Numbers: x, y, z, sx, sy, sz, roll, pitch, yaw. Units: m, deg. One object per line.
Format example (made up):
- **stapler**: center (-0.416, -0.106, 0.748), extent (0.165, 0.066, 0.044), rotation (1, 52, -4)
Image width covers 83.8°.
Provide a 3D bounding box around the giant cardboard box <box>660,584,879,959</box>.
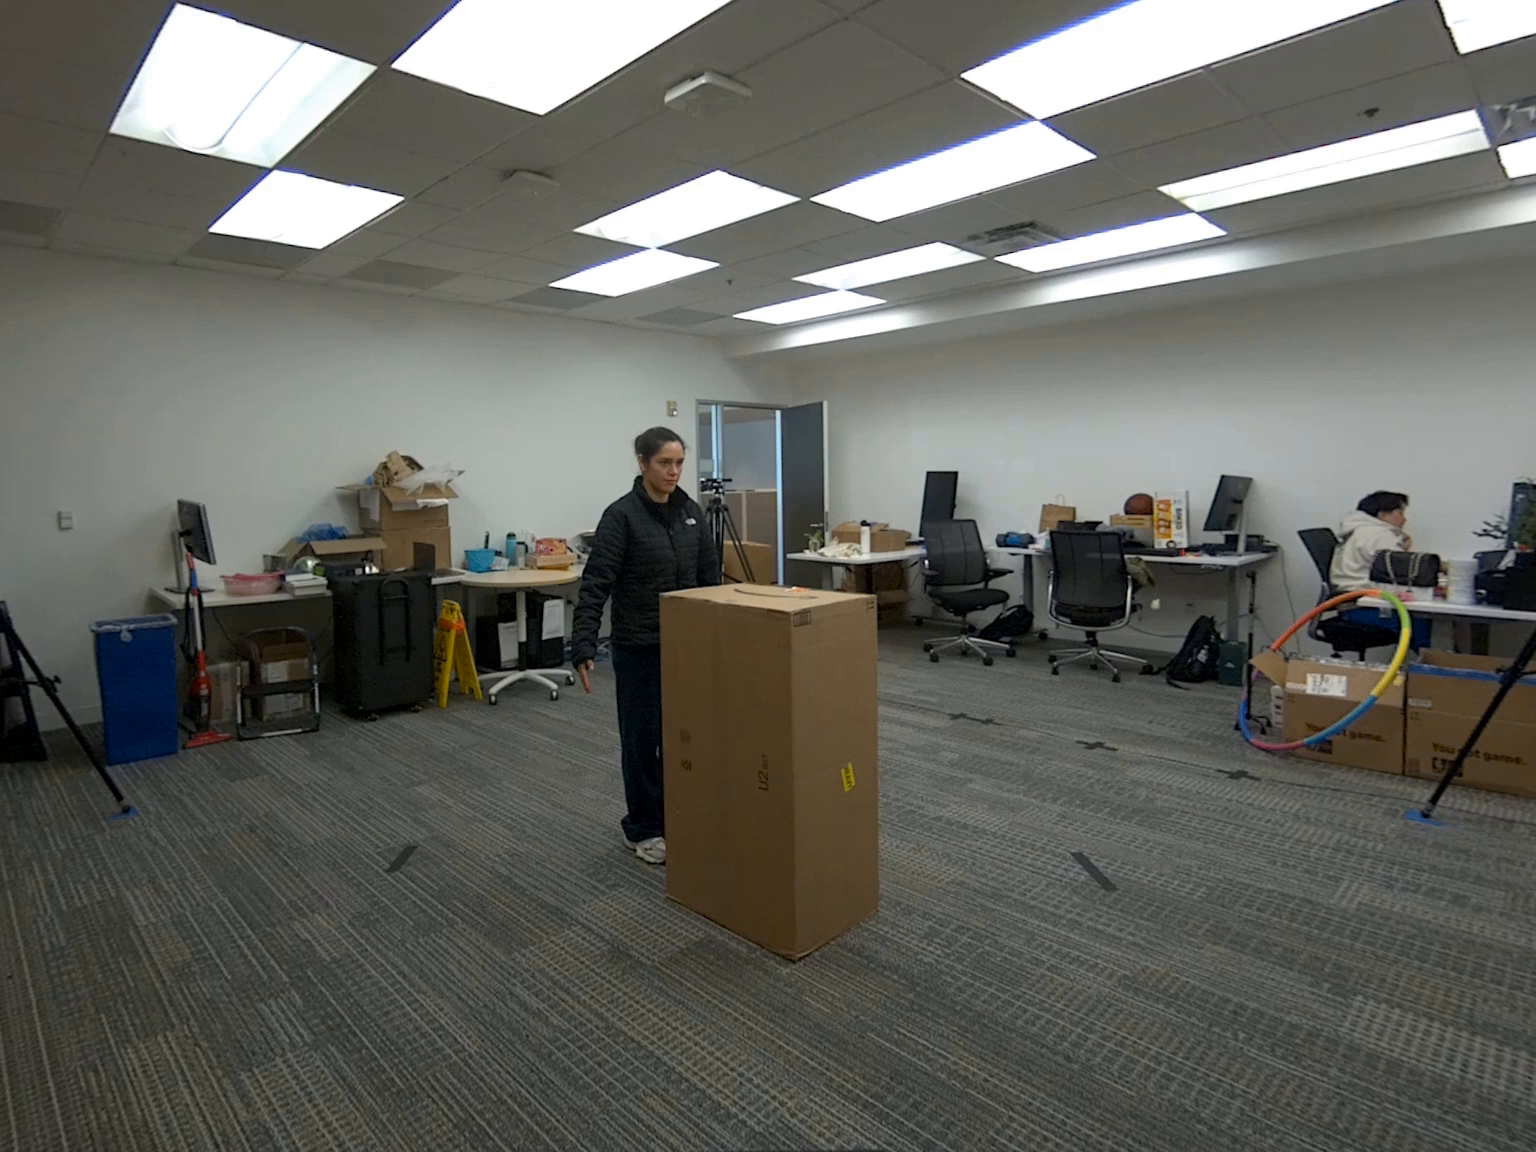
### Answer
- **giant cardboard box**: center (0.006, 0.573, 2.790), extent (0.595, 1.022, 0.415), rotation (3, 5, 44)
